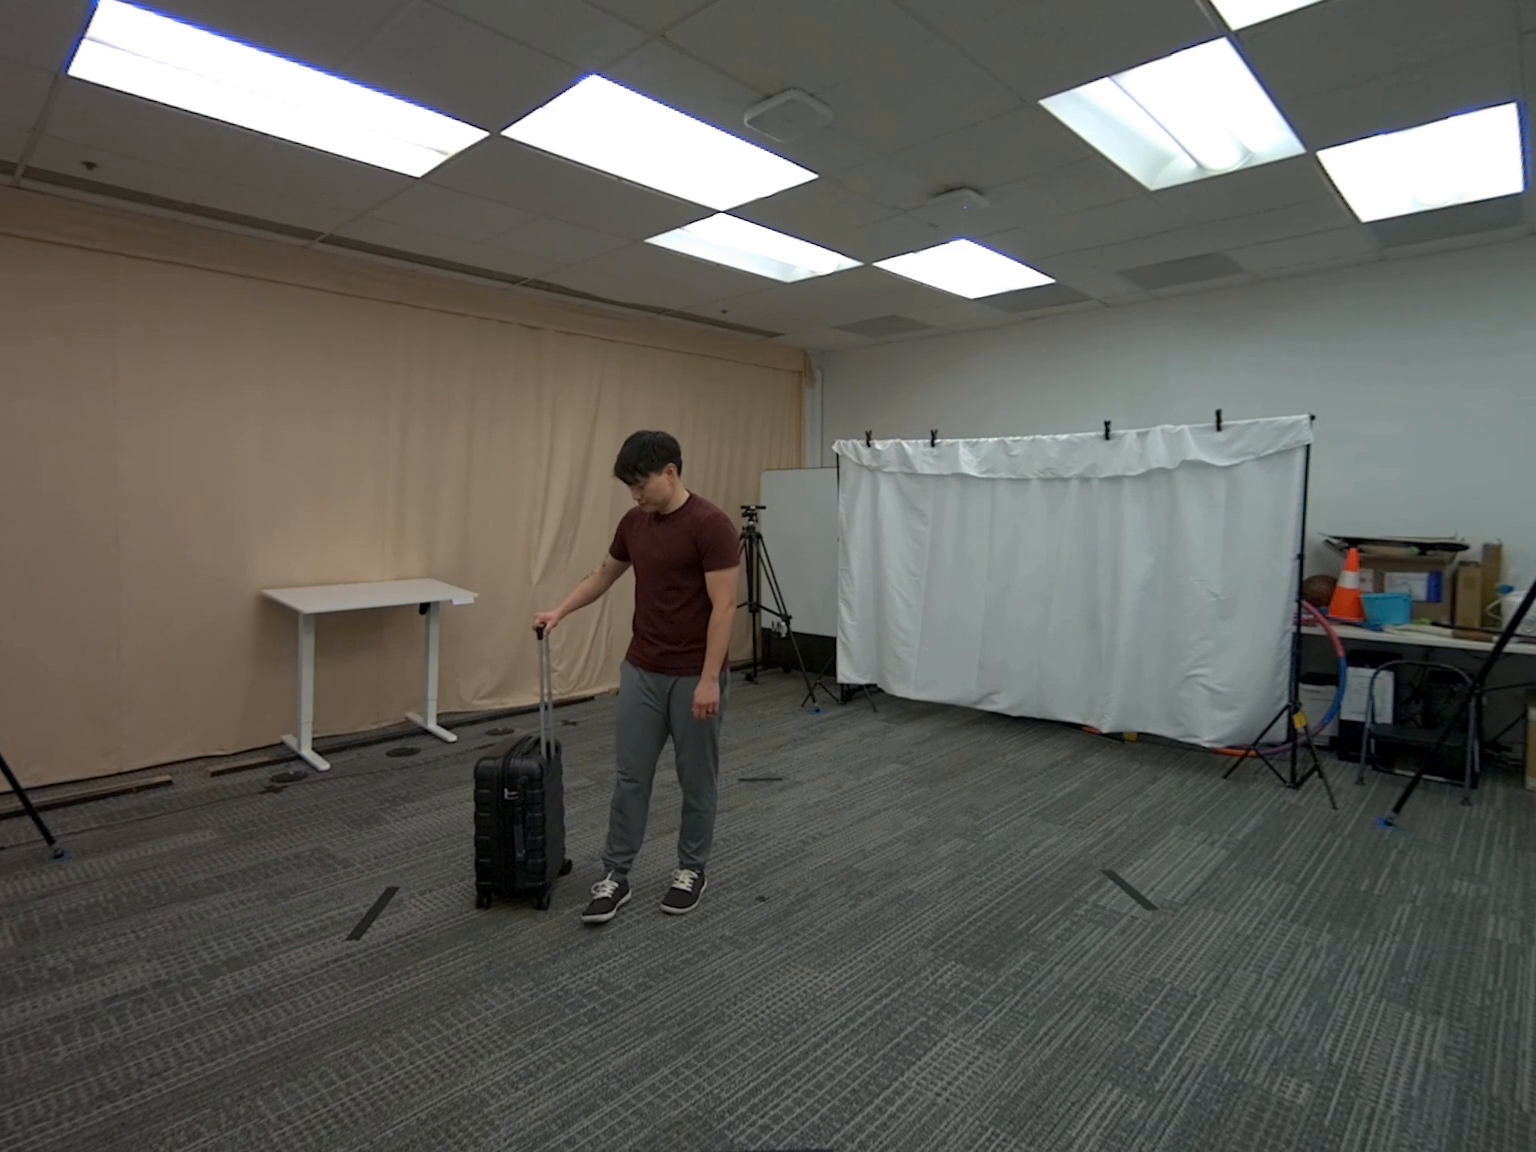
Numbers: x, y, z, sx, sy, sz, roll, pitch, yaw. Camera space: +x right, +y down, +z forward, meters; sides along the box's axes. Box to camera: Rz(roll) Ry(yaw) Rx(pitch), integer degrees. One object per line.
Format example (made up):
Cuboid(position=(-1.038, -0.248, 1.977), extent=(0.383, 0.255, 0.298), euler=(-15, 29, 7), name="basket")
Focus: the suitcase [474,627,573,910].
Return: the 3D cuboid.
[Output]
Cuboid(position=(-0.900, 0.674, 3.031), extent=(0.257, 0.976, 0.384), euler=(-3, 4, 0), name="suitcase")
